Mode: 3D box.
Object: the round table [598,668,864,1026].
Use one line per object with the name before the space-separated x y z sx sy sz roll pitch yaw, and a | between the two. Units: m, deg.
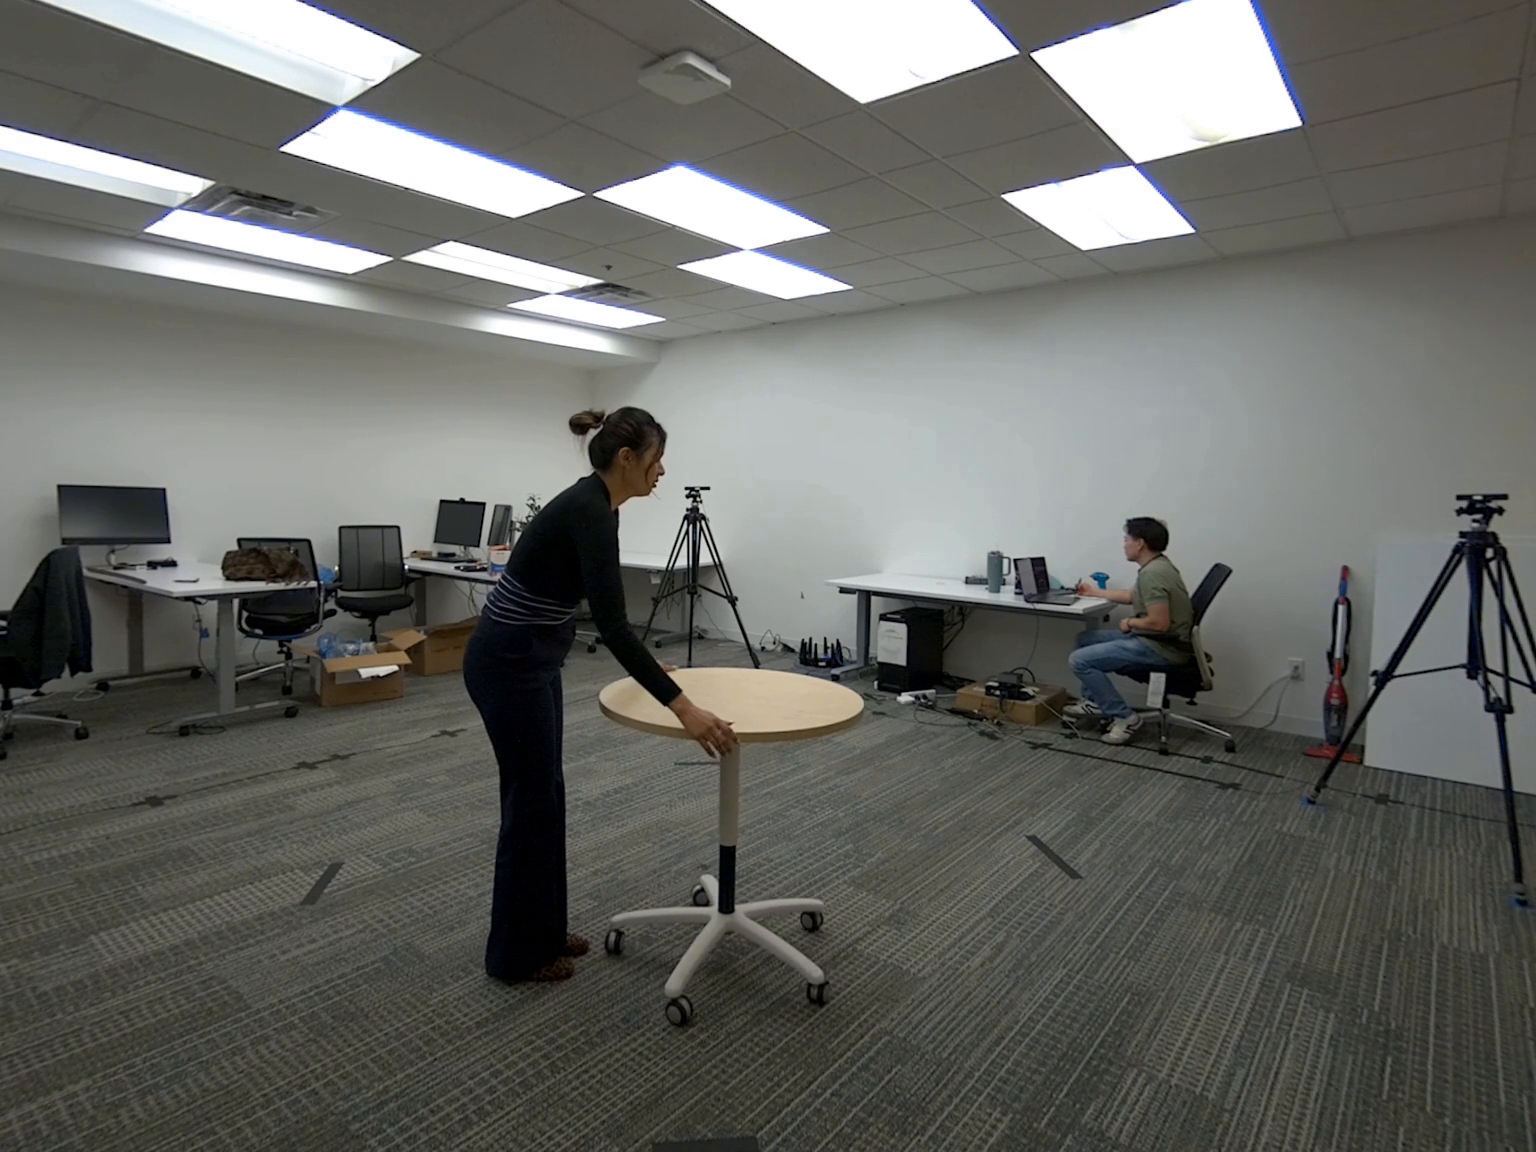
round table | -0.129 0.740 2.499 0.763 0.791 0.768 1 4 -2
